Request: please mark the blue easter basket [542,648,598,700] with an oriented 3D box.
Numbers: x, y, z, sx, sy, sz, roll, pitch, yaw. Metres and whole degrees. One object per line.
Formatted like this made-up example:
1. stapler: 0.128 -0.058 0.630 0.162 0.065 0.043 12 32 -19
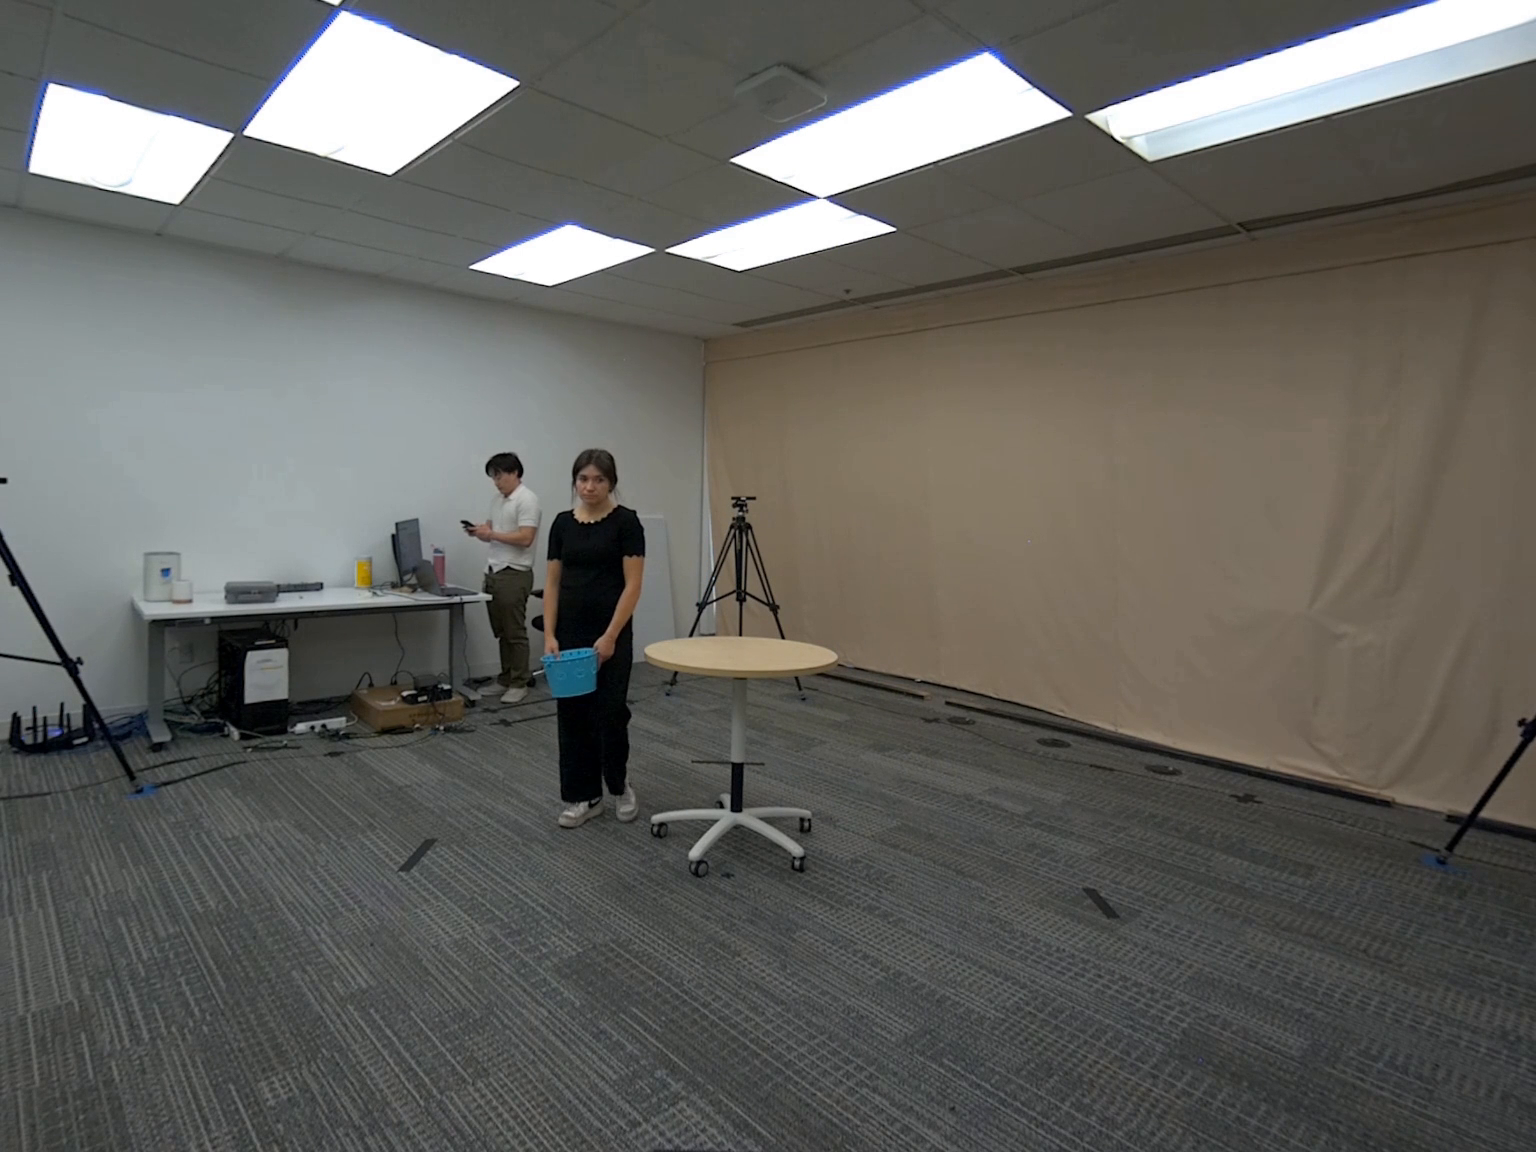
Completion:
1. blue easter basket: -0.811 0.391 3.416 0.243 0.156 0.244 -6 2 -1
